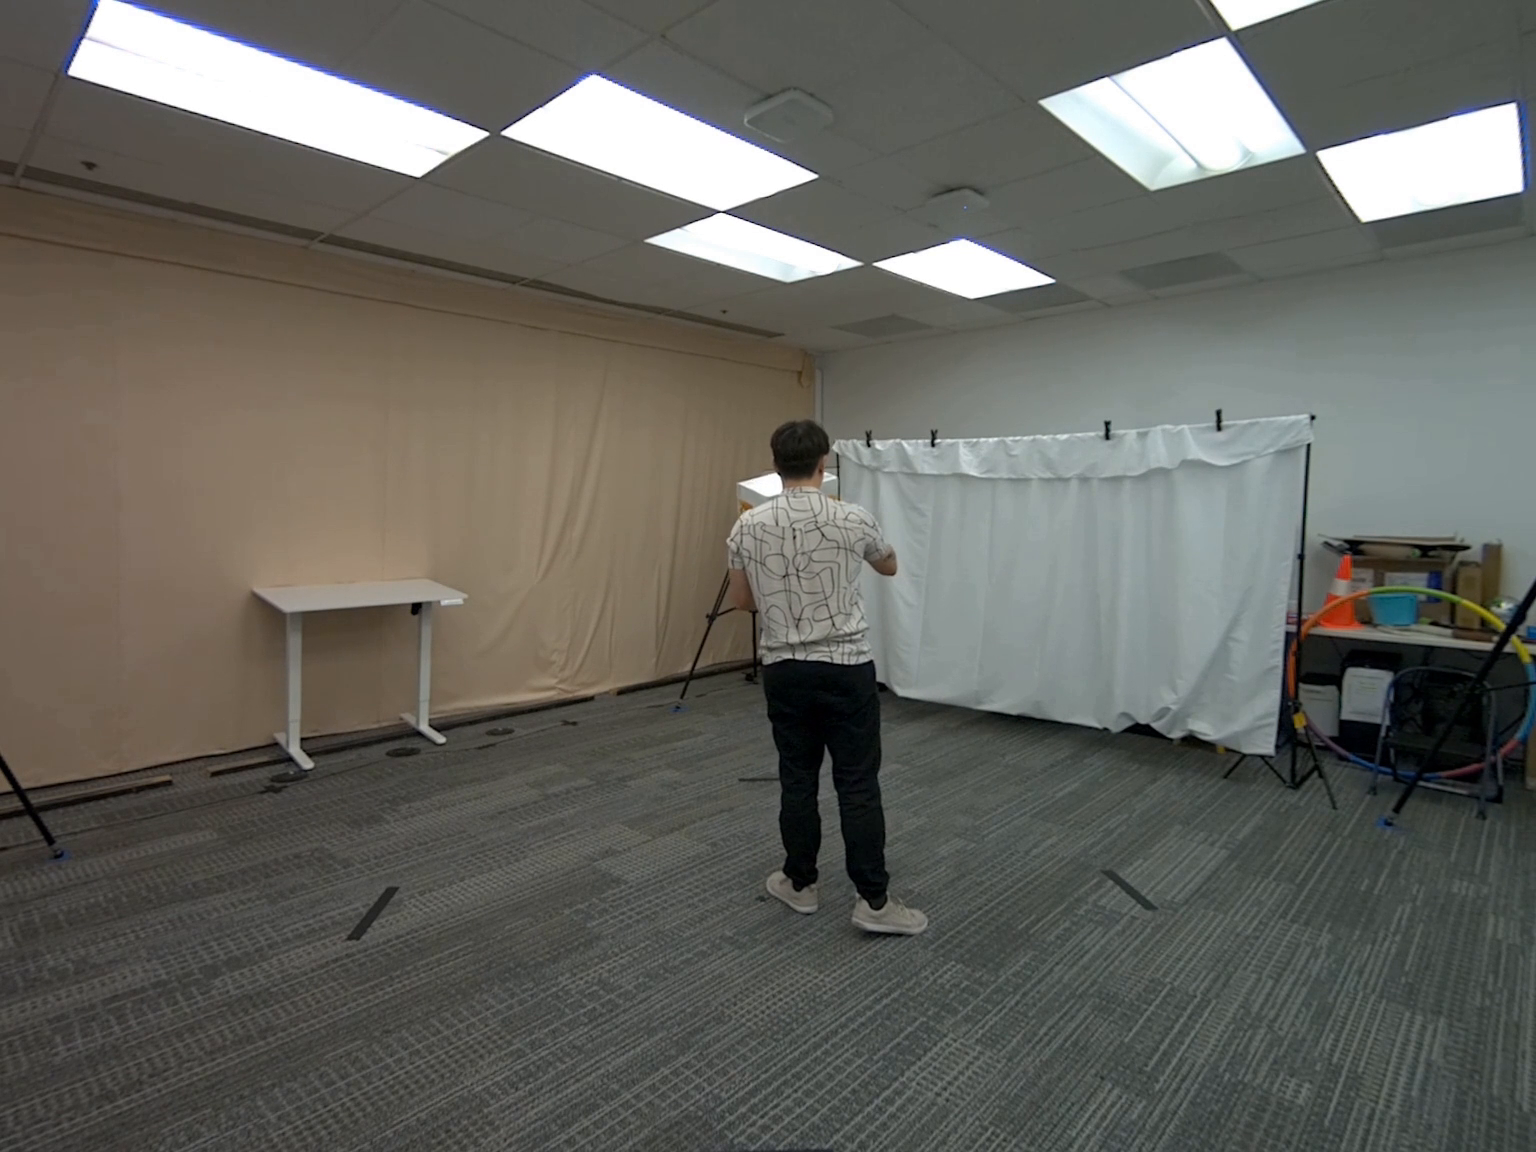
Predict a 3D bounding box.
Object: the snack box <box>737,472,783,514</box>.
[{"bbox_3d":[0.077,-0.186,3.290,0.333,0.399,0.213,-17,28,-31],"label":"snack box"}]
